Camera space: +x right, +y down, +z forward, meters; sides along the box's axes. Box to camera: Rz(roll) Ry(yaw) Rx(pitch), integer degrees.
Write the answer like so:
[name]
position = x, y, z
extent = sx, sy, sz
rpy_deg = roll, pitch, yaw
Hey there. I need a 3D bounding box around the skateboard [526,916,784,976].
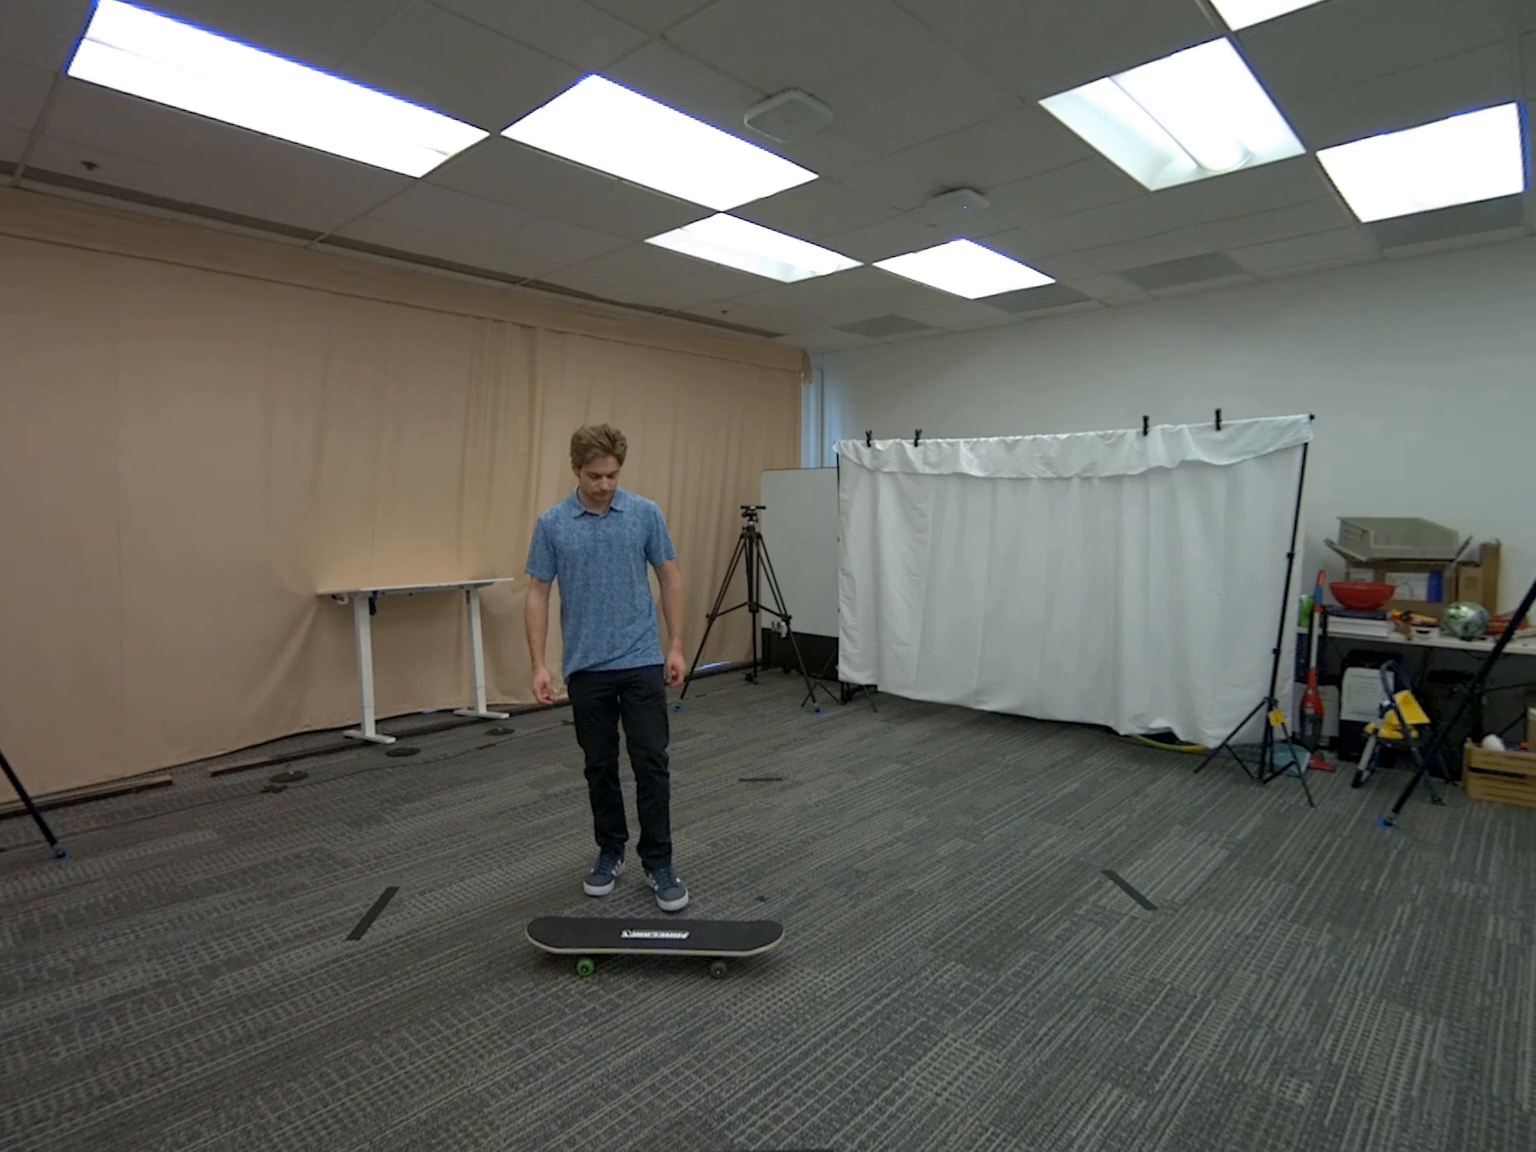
[skateboard]
position = -0.341, 1.127, 2.561
extent = 0.787, 0.110, 0.193
rpy_deg = -1, 5, 2
